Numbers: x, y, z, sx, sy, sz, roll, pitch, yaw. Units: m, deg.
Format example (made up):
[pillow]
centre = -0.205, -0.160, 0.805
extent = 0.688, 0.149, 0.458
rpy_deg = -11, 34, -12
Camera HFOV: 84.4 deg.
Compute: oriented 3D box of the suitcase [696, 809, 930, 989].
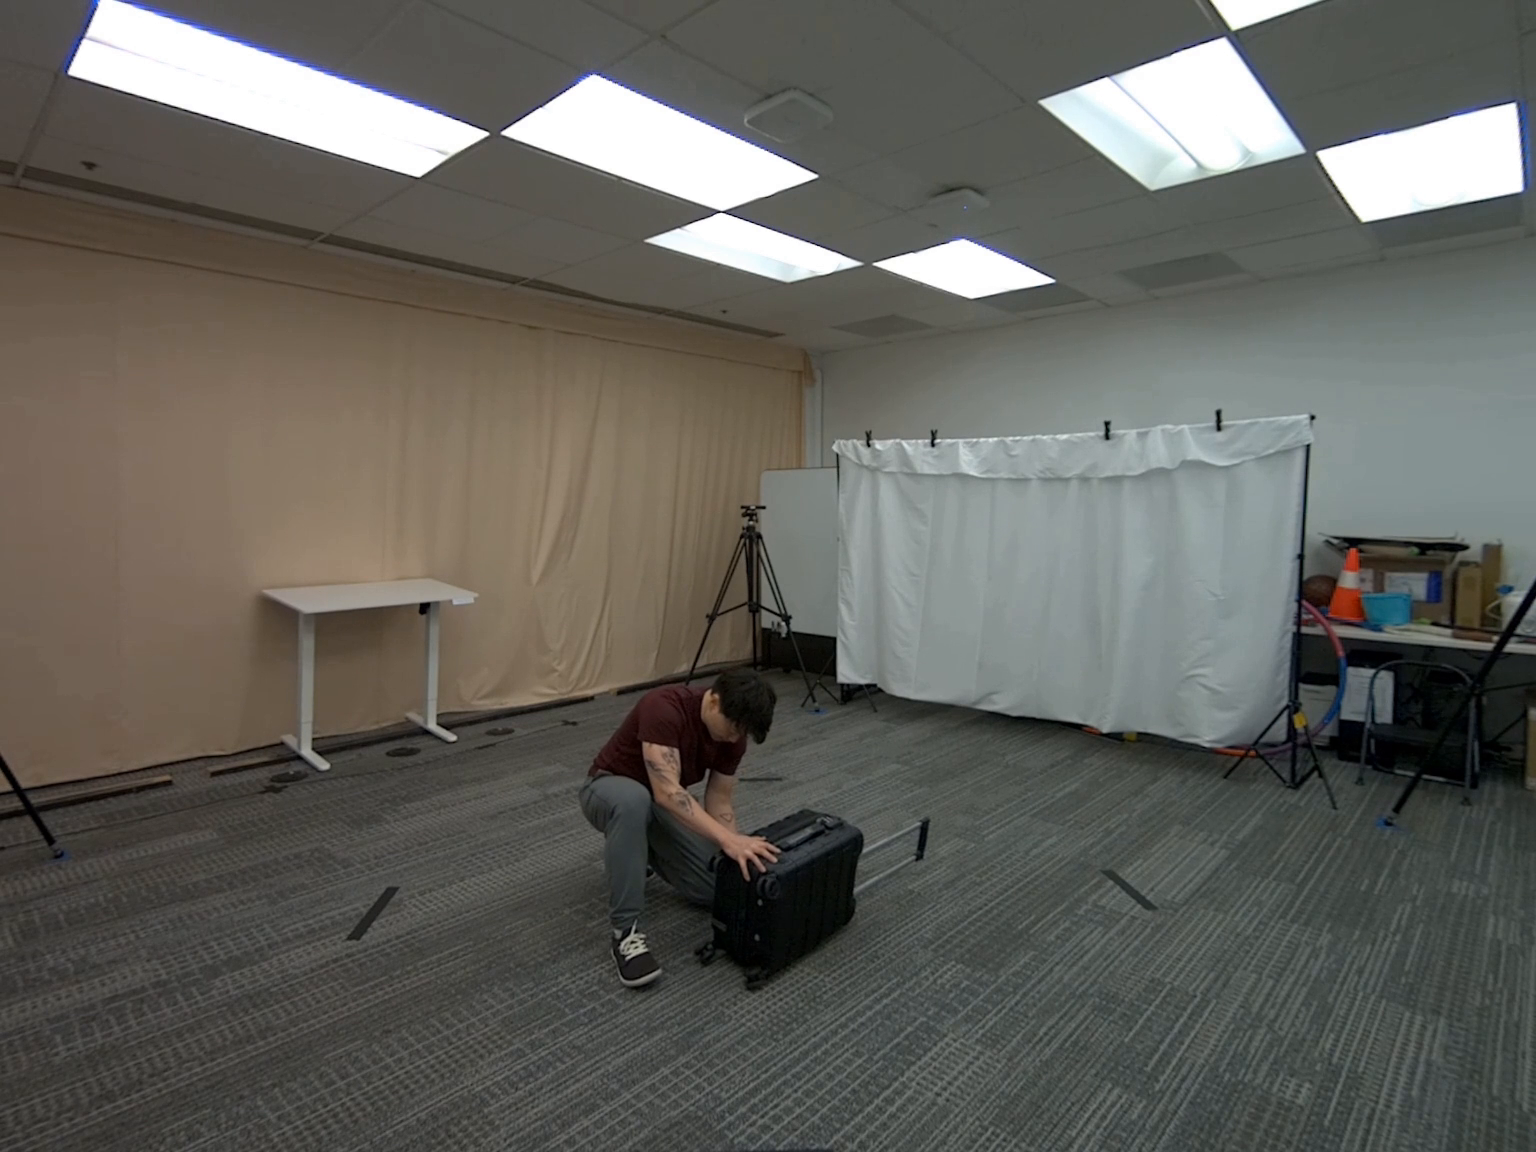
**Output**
[suitcase]
centre = 0.198, 0.970, 2.809
extent = 0.266, 0.382, 0.949
rpy_deg = 10, 10, 37
